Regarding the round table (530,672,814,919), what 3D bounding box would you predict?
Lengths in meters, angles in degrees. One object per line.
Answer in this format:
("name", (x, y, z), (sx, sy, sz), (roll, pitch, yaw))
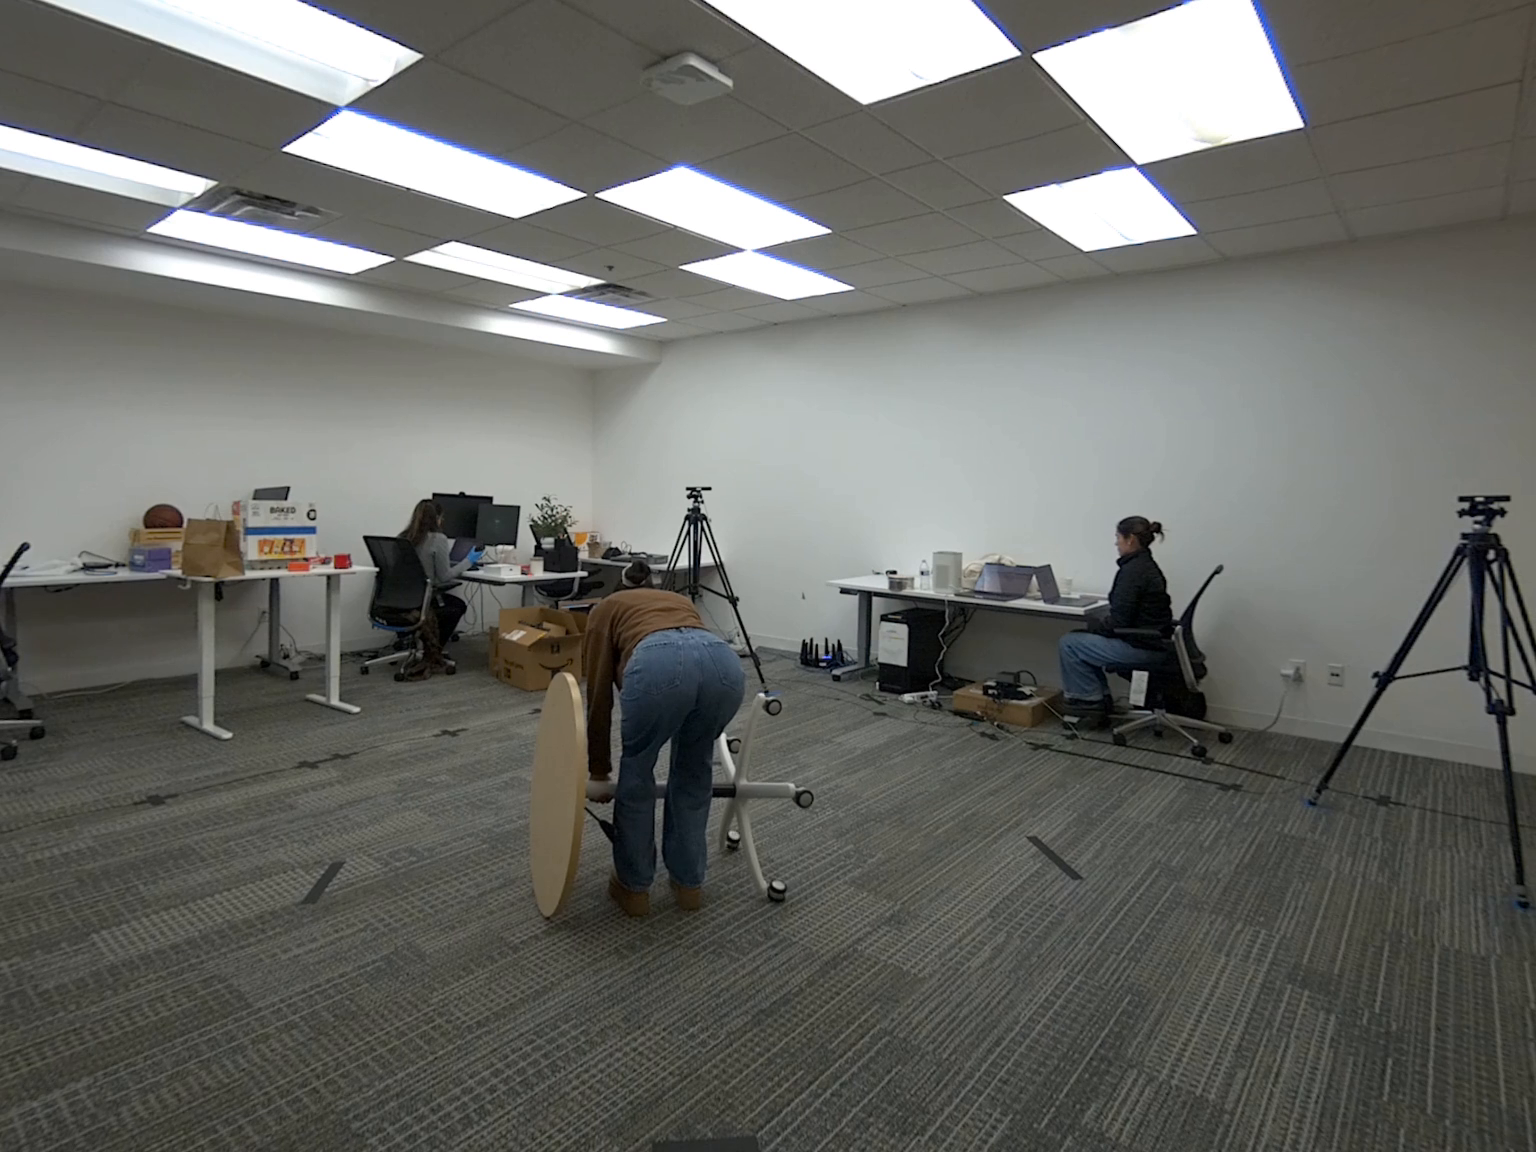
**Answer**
("round table", (-0.358, 0.748, 2.948), (0.776, 0.763, 0.782), (6, 2, -22))
